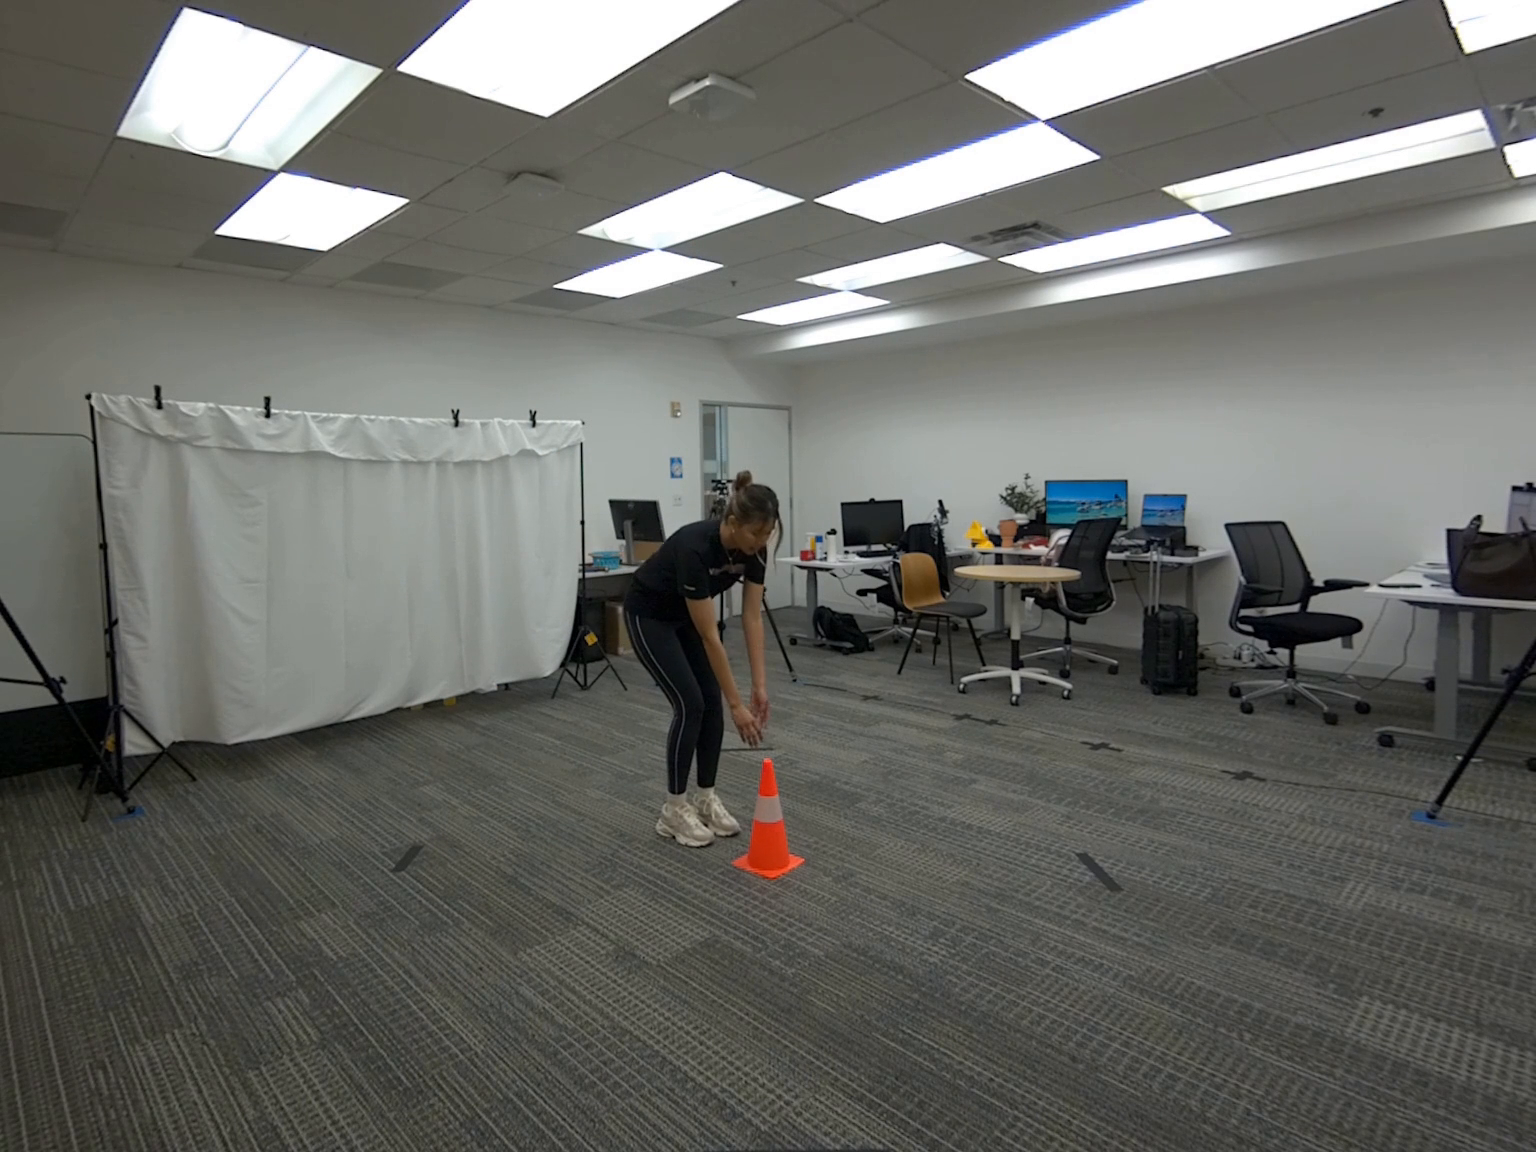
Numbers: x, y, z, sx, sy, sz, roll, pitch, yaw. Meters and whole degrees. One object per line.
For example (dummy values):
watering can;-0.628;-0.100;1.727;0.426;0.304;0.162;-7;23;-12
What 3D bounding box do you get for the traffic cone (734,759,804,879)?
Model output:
traffic cone;0.006;0.863;3.105;0.211;0.382;0.198;4;7;38
